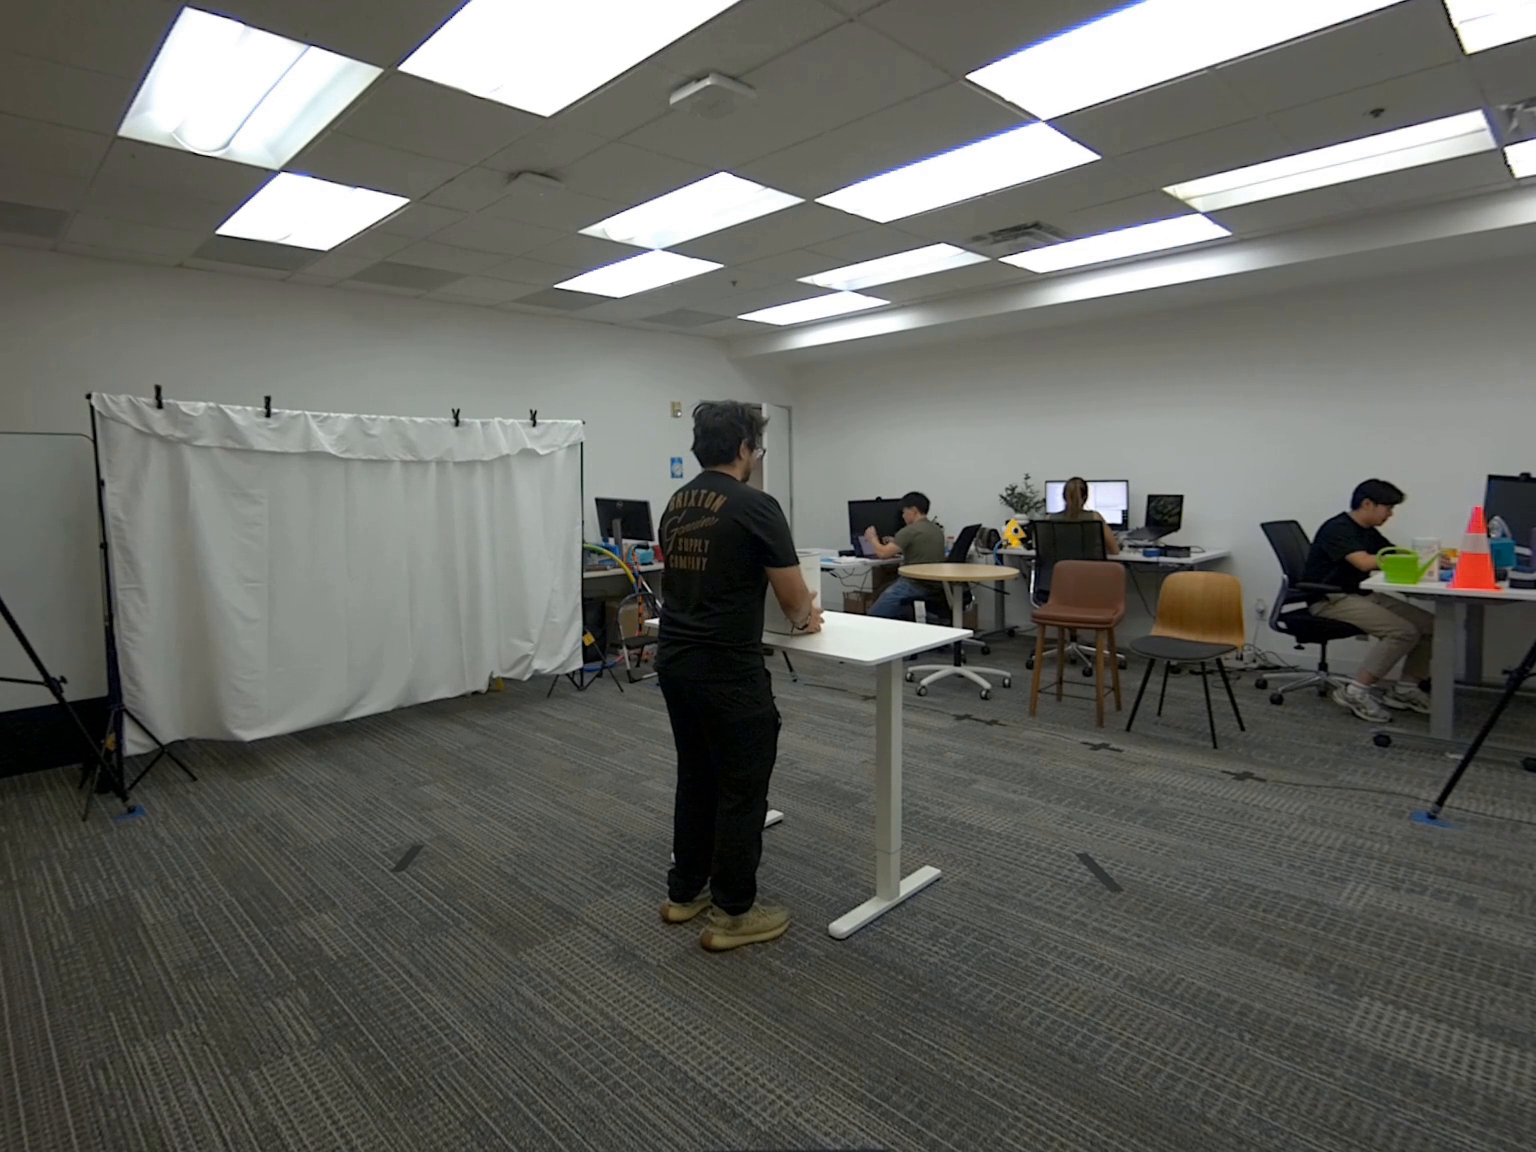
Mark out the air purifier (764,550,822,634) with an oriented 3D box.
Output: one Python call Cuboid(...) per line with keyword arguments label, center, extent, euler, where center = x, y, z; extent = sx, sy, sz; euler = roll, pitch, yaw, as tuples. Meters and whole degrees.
Cuboid(label="air purifier", center=(0.081, 0.053, 2.898), extent=(0.166, 0.264, 0.177), euler=(-5, 8, -41))
